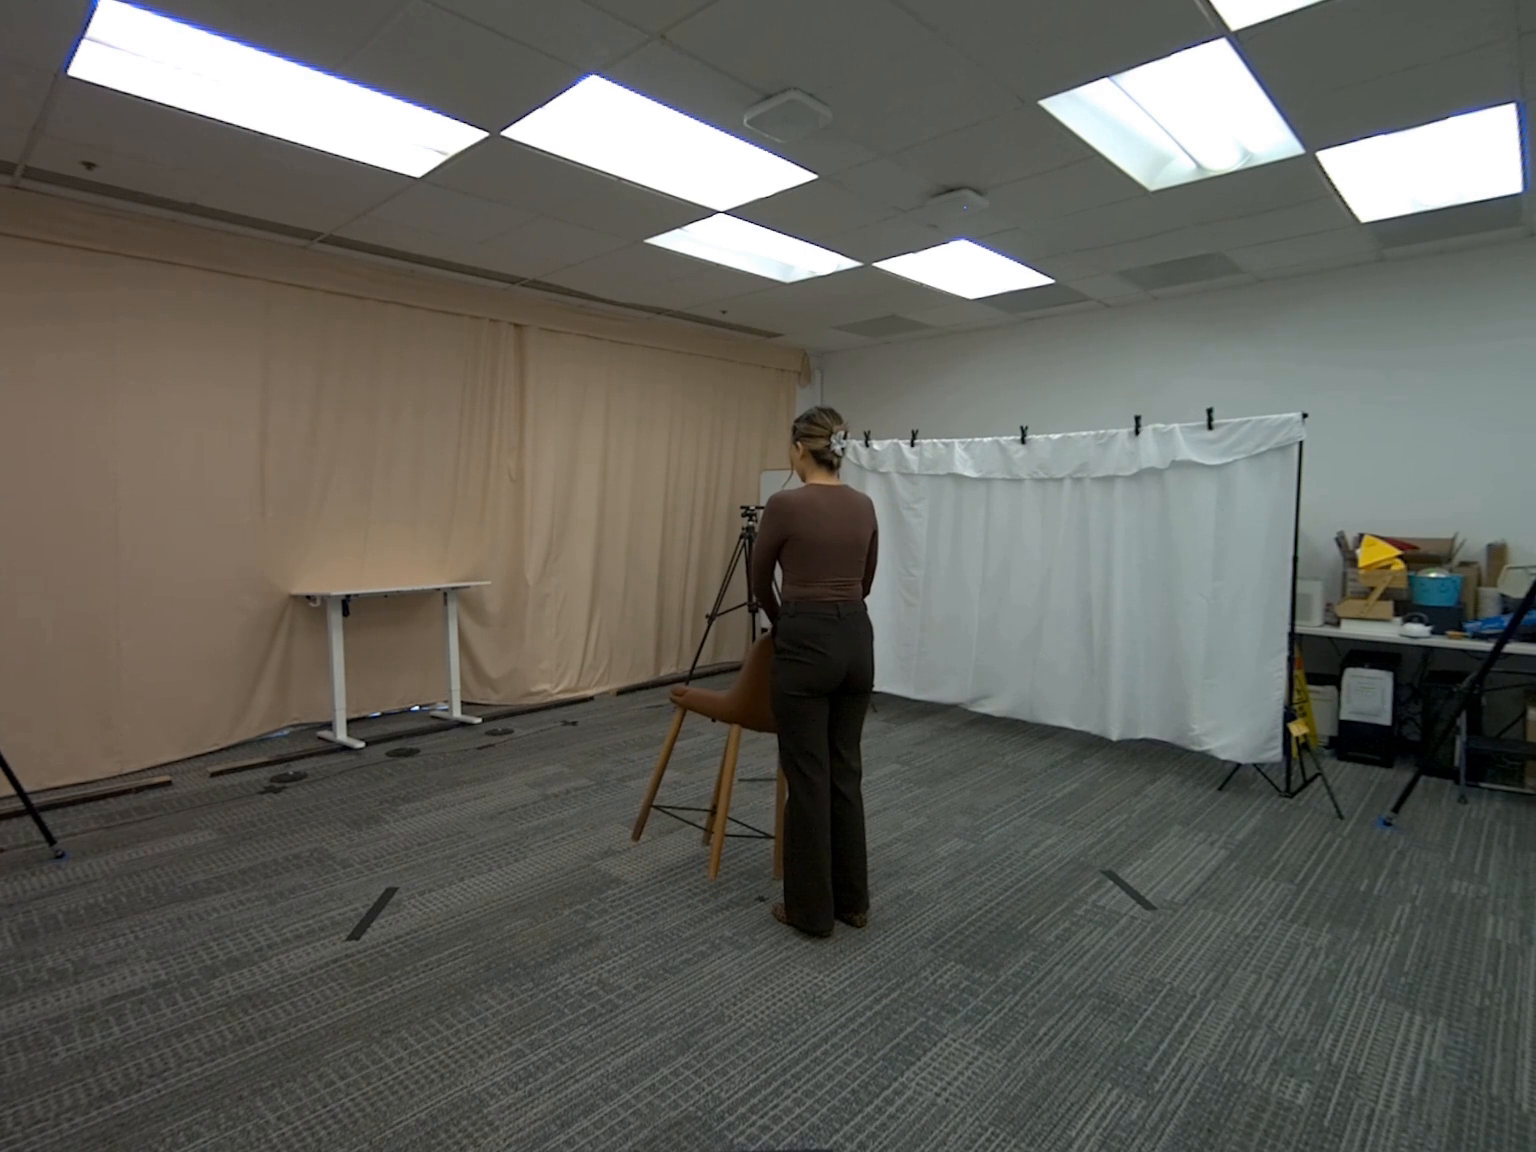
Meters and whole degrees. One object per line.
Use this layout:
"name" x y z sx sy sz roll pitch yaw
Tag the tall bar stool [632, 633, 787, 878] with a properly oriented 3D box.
"tall bar stool" -0.130 0.653 3.243 0.484 0.892 0.440 7 -10 45
